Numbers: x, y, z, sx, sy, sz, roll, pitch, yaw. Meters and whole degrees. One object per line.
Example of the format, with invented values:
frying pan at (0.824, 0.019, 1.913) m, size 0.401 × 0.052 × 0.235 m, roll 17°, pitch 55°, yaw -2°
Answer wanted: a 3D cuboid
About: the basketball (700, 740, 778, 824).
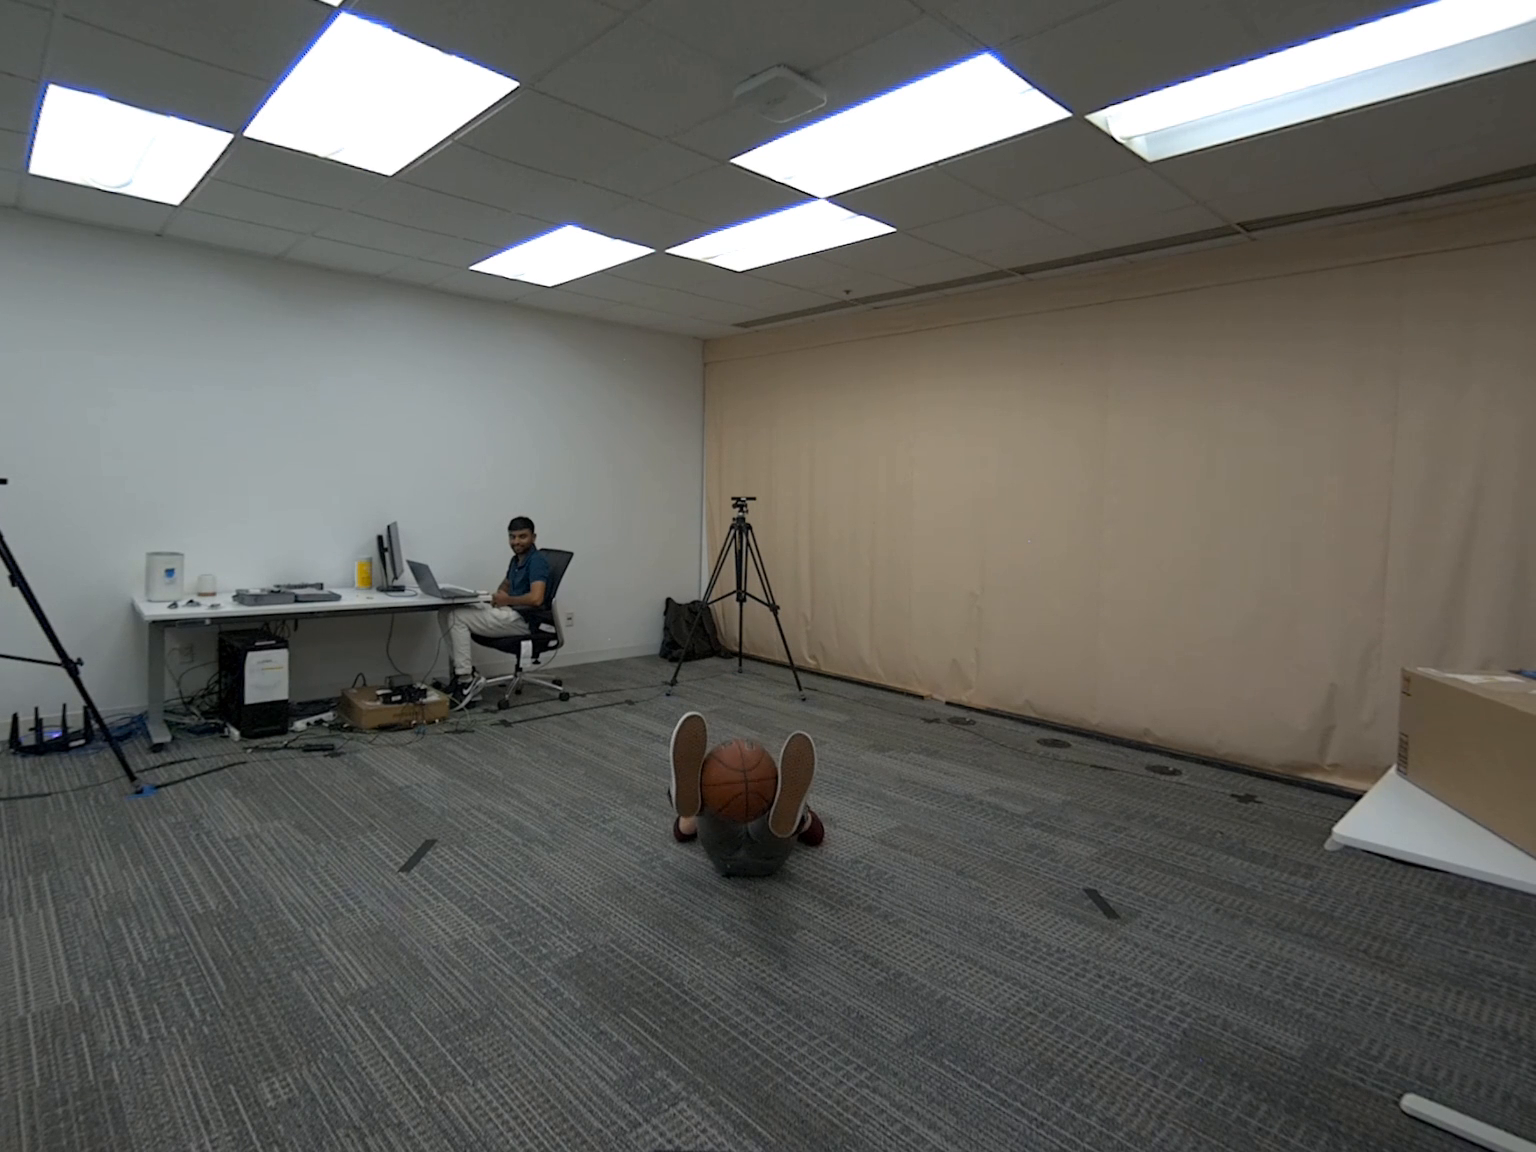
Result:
basketball at (-0.095, 0.598, 2.459) m, size 0.236 × 0.234 × 0.237 m, roll 0°, pitch 7°, yaw -1°
